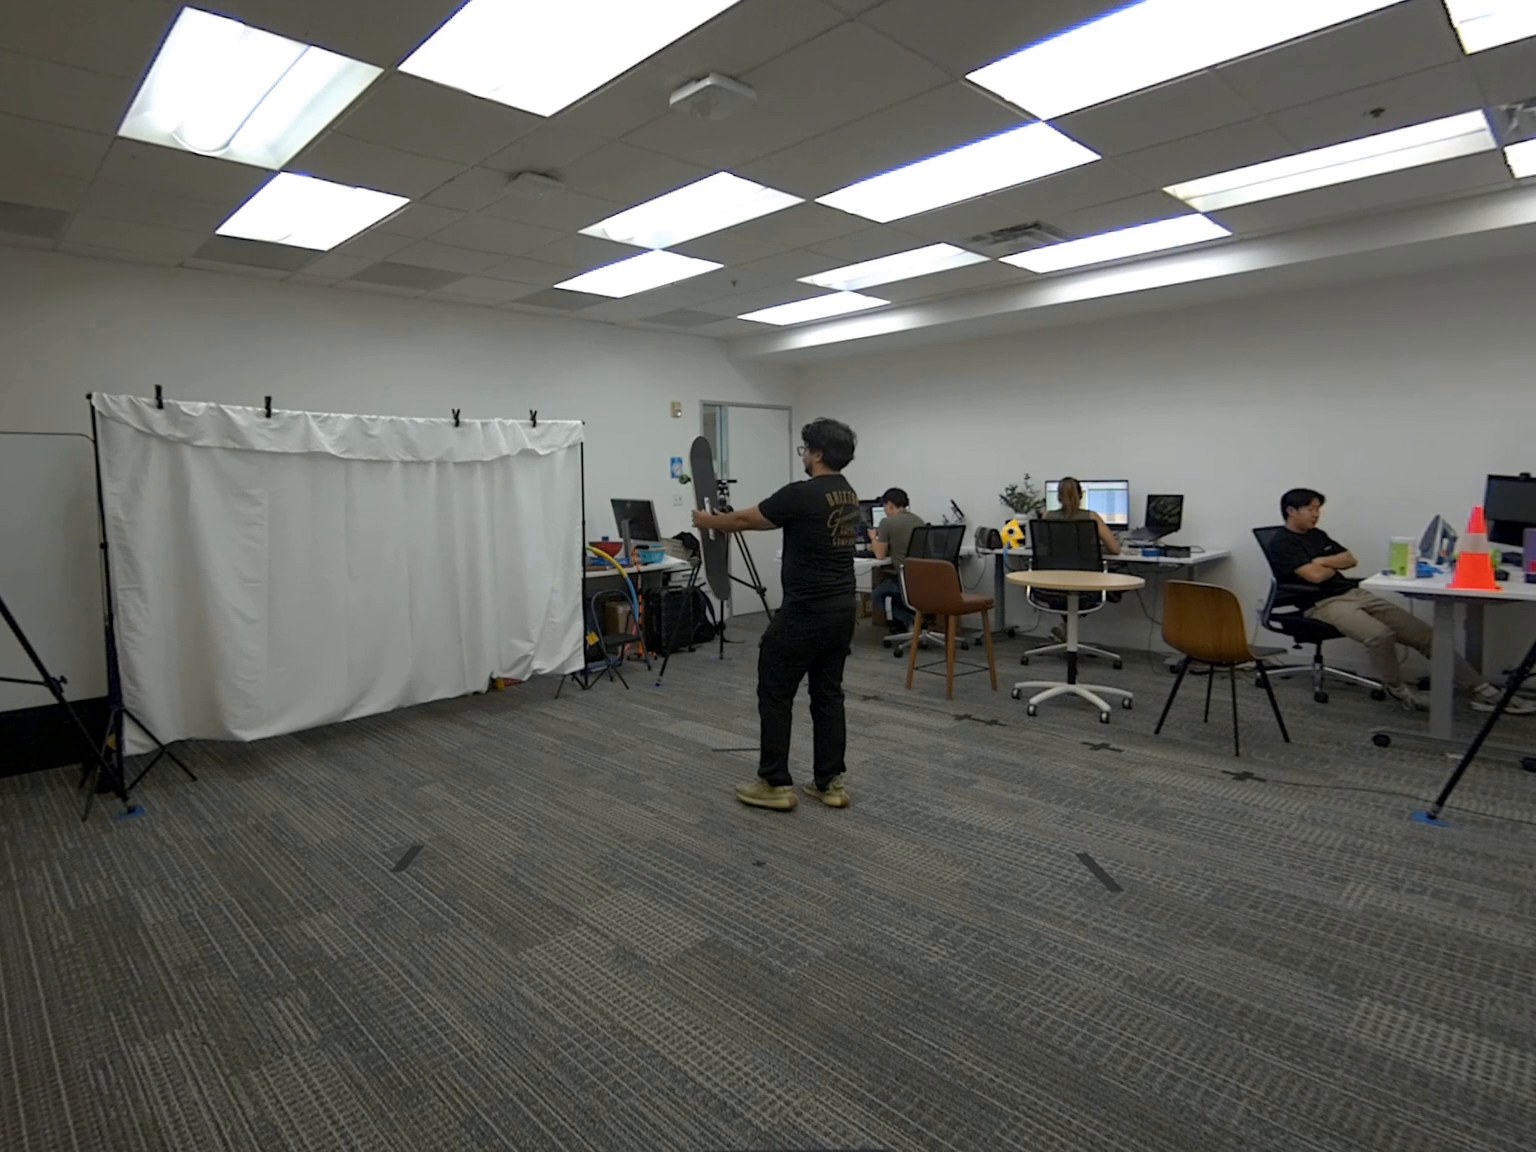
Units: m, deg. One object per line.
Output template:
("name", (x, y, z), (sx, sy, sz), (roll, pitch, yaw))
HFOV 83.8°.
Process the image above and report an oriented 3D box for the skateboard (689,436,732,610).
("skateboard", (-0.305, -0.267, 4.052), (0.112, 0.790, 0.188), (-13, -6, 33))
